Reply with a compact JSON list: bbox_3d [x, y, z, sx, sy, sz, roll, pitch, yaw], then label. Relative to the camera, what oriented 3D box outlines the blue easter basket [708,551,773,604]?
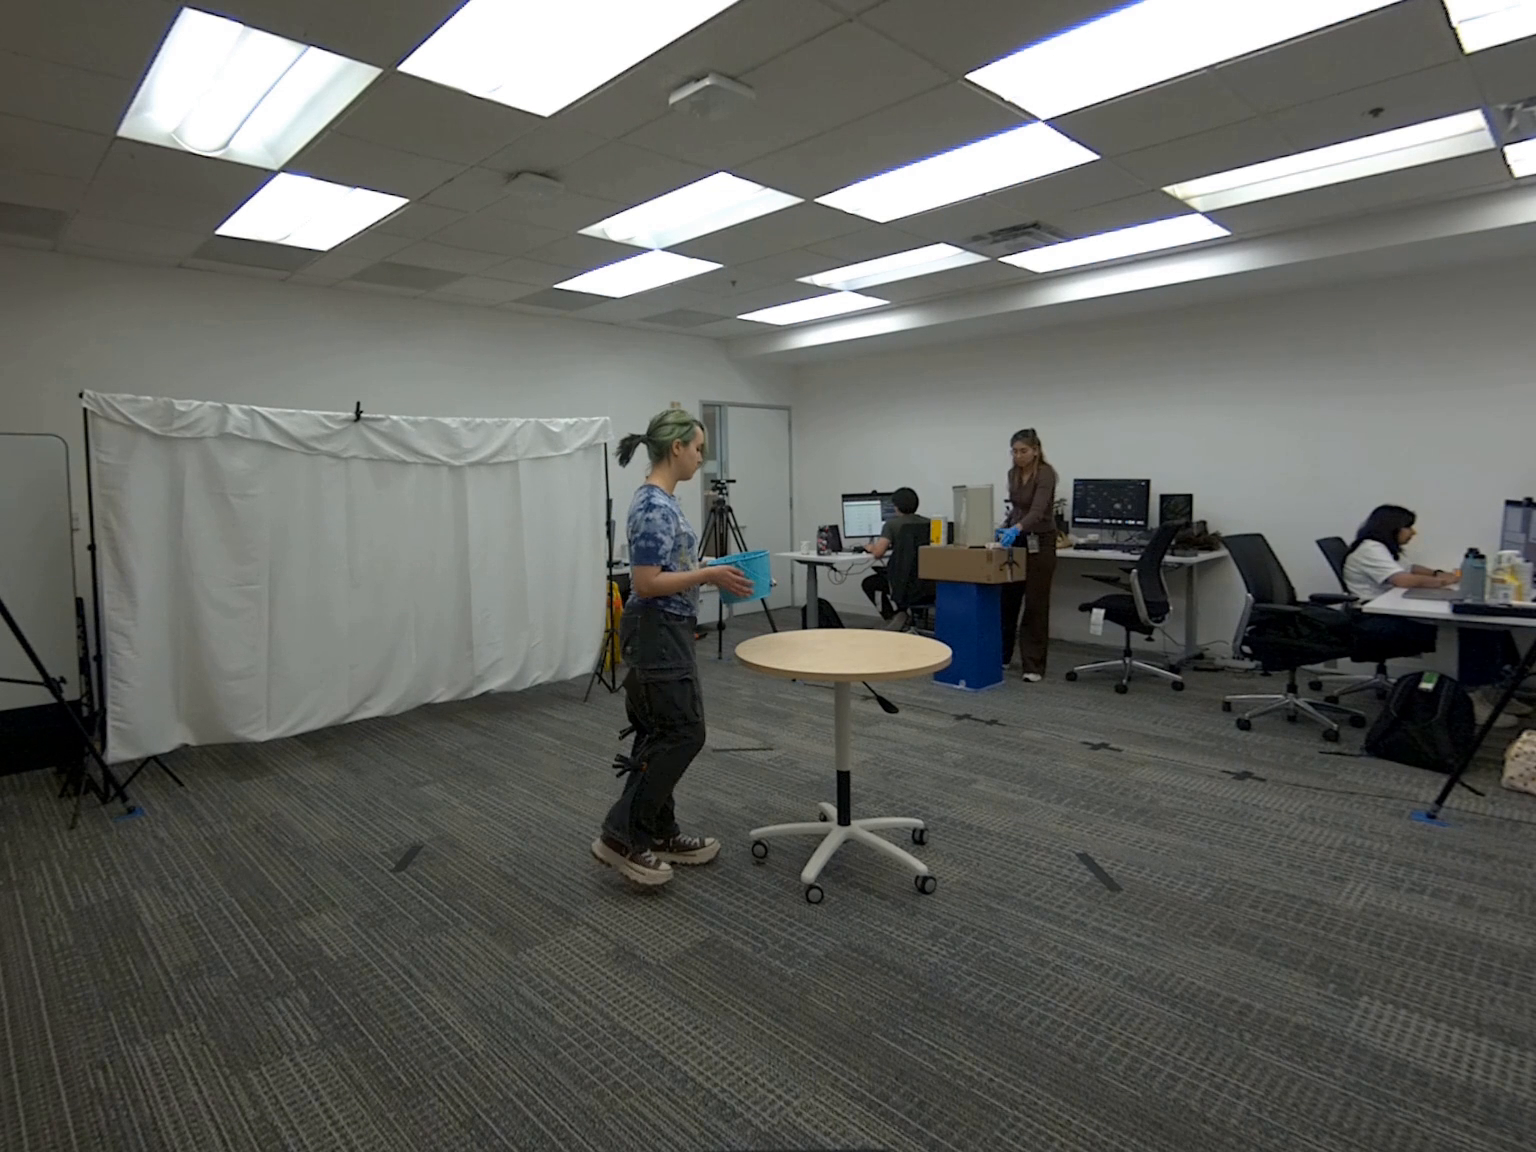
[{"bbox_3d":[-0.139,0.012,3.097,0.243,0.155,0.245,-8,9,-1],"label":"blue easter basket"}]
